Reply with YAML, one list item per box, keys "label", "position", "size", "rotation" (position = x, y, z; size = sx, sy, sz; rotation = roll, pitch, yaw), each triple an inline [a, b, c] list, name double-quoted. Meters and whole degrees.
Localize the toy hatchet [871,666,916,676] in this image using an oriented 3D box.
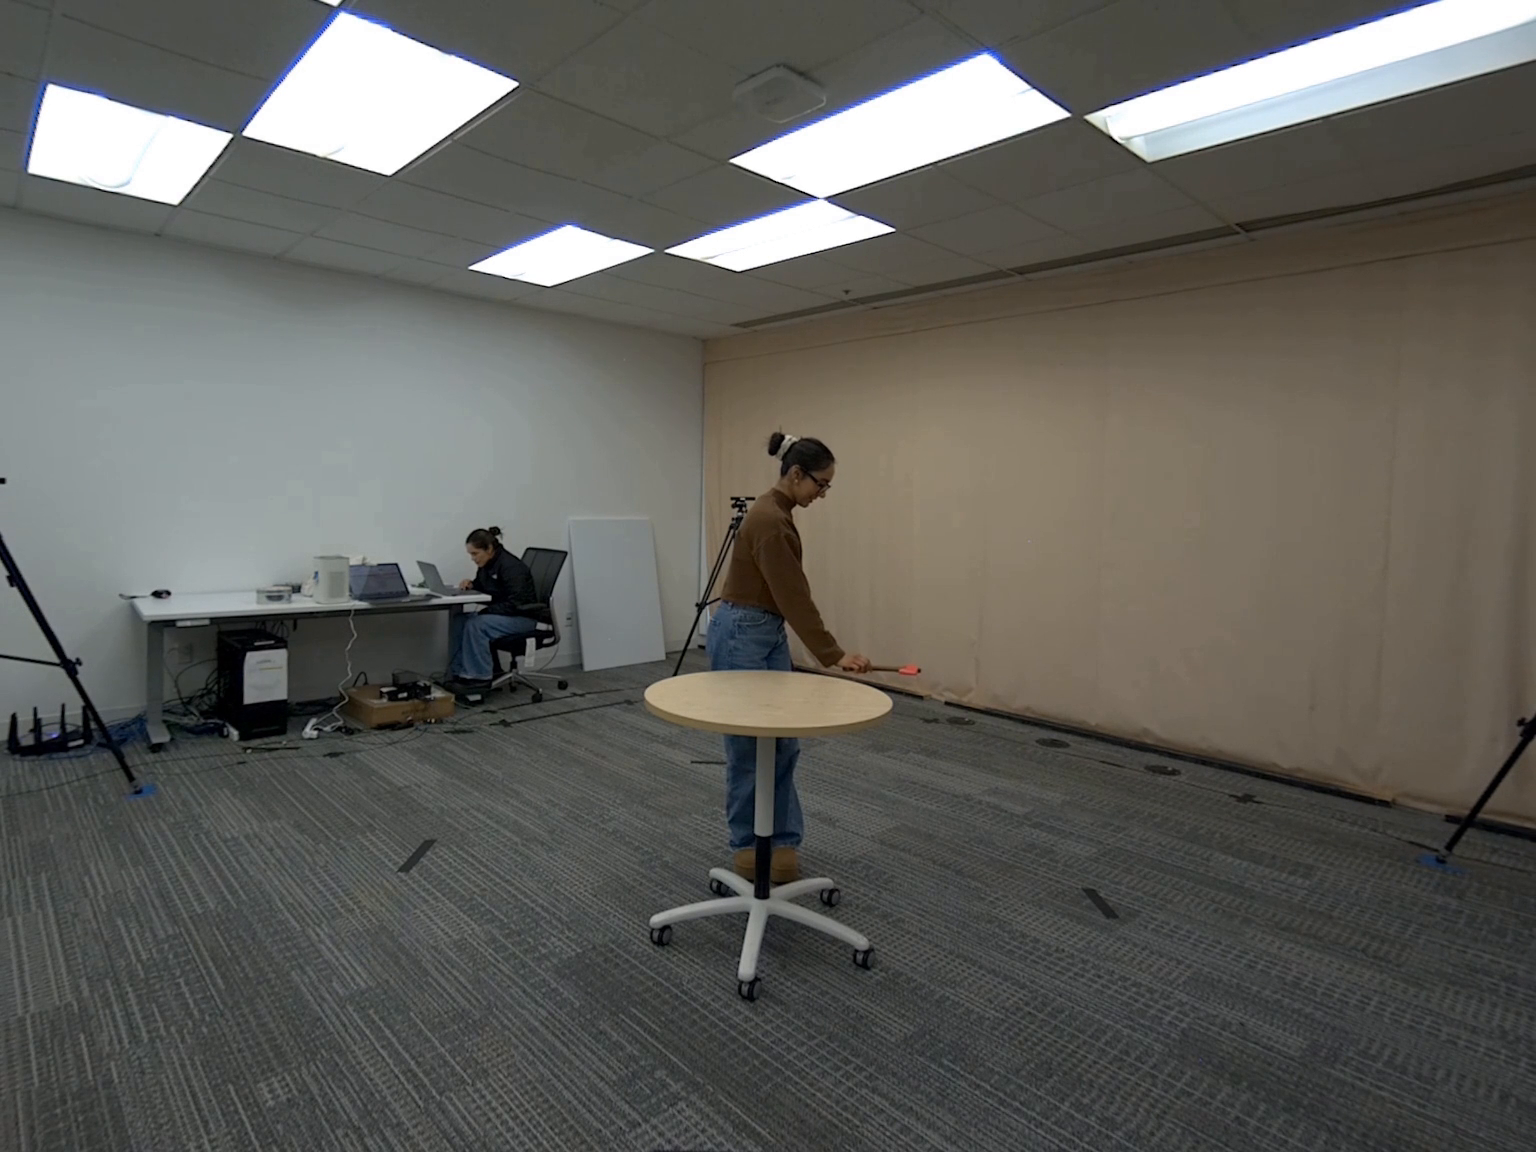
- label: "toy hatchet"
  position: [0.356, 0.322, 3.007]
  size: [0.273, 0.029, 0.130]
  rotation: [5, 3, 13]
